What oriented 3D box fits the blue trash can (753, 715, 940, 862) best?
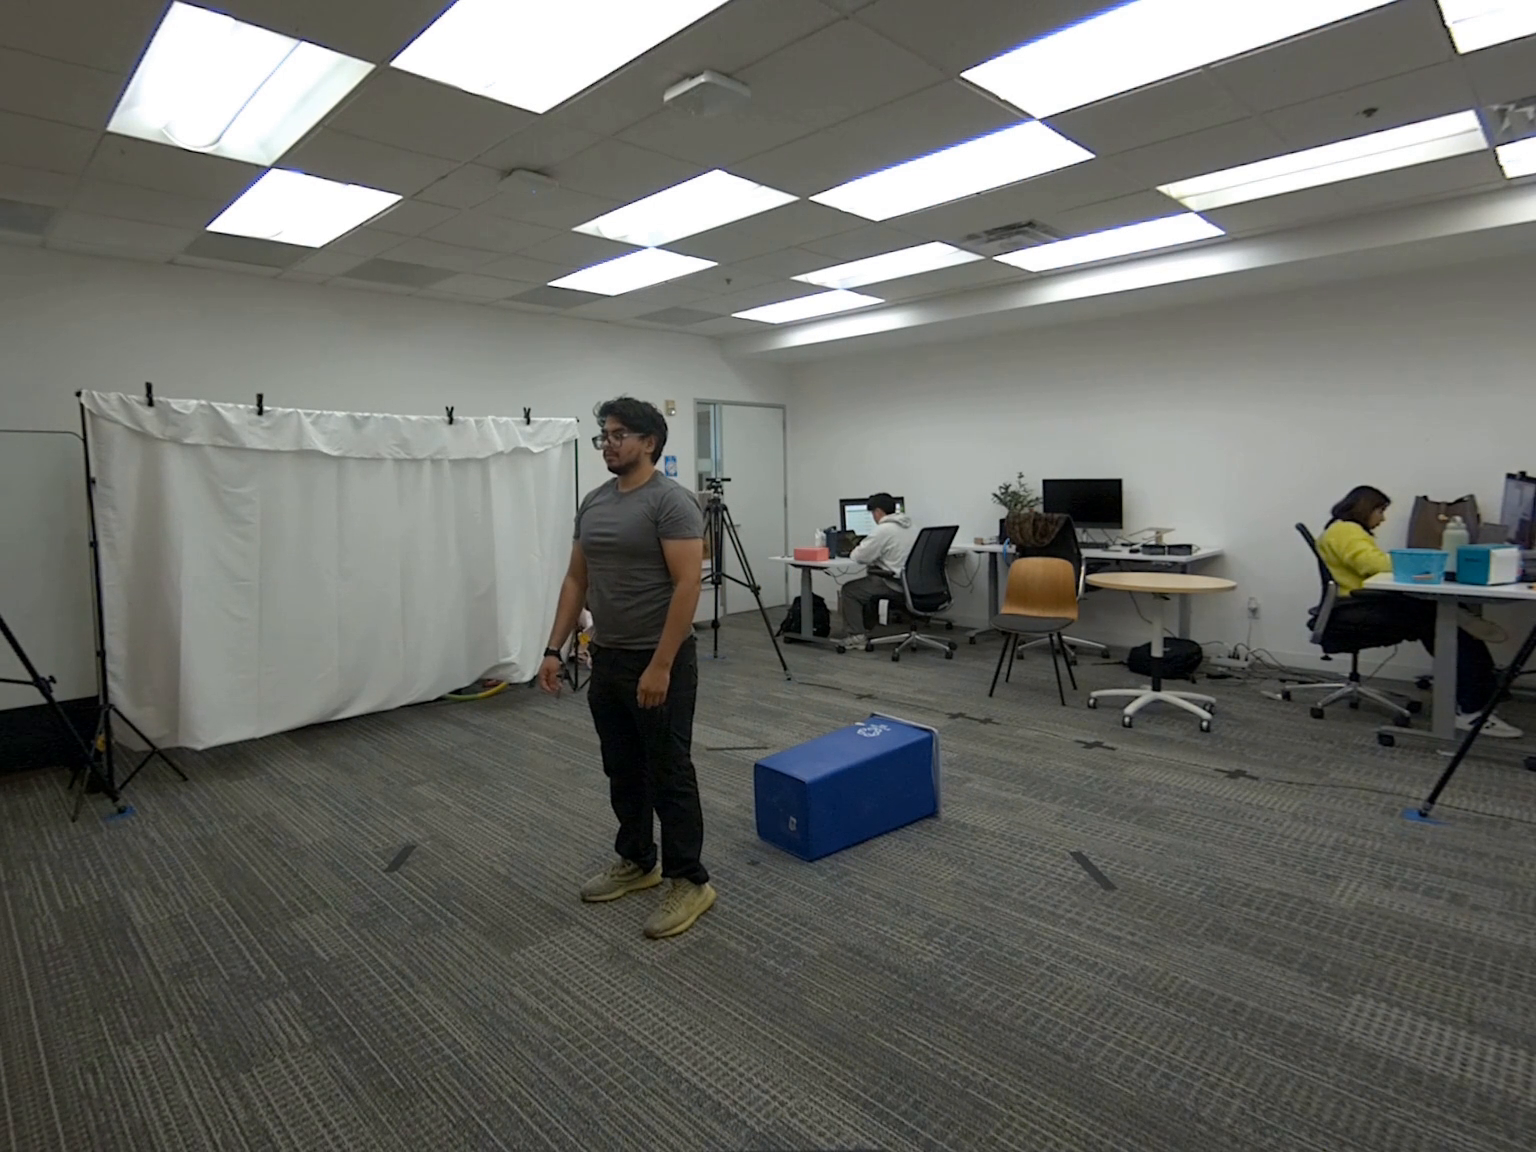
[{"bbox_3d":[0.318,0.823,3.405,0.696,0.372,0.390,-8,8,-39],"label":"blue trash can"}]
